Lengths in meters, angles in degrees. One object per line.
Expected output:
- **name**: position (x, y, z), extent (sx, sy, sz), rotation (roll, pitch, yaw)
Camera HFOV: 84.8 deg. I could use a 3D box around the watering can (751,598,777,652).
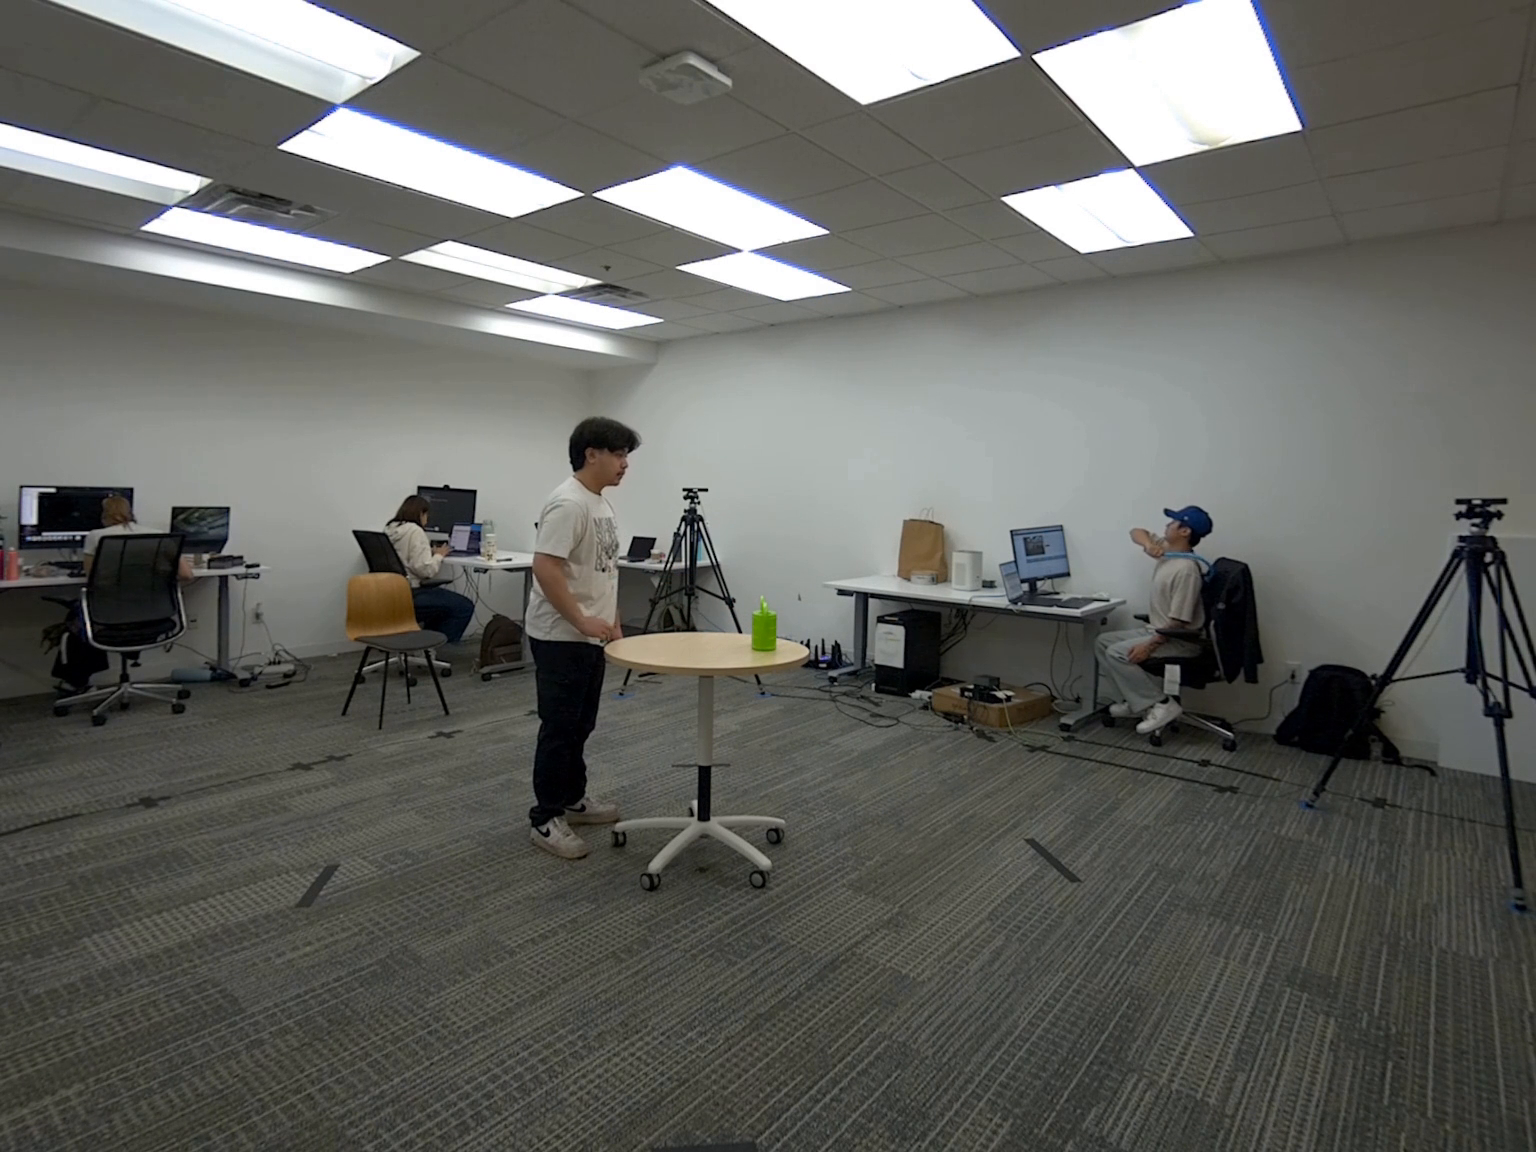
- **watering can**: position (-0.015, 0.184, 3.252), extent (0.100, 0.176, 0.273), rotation (3, 4, 17)
